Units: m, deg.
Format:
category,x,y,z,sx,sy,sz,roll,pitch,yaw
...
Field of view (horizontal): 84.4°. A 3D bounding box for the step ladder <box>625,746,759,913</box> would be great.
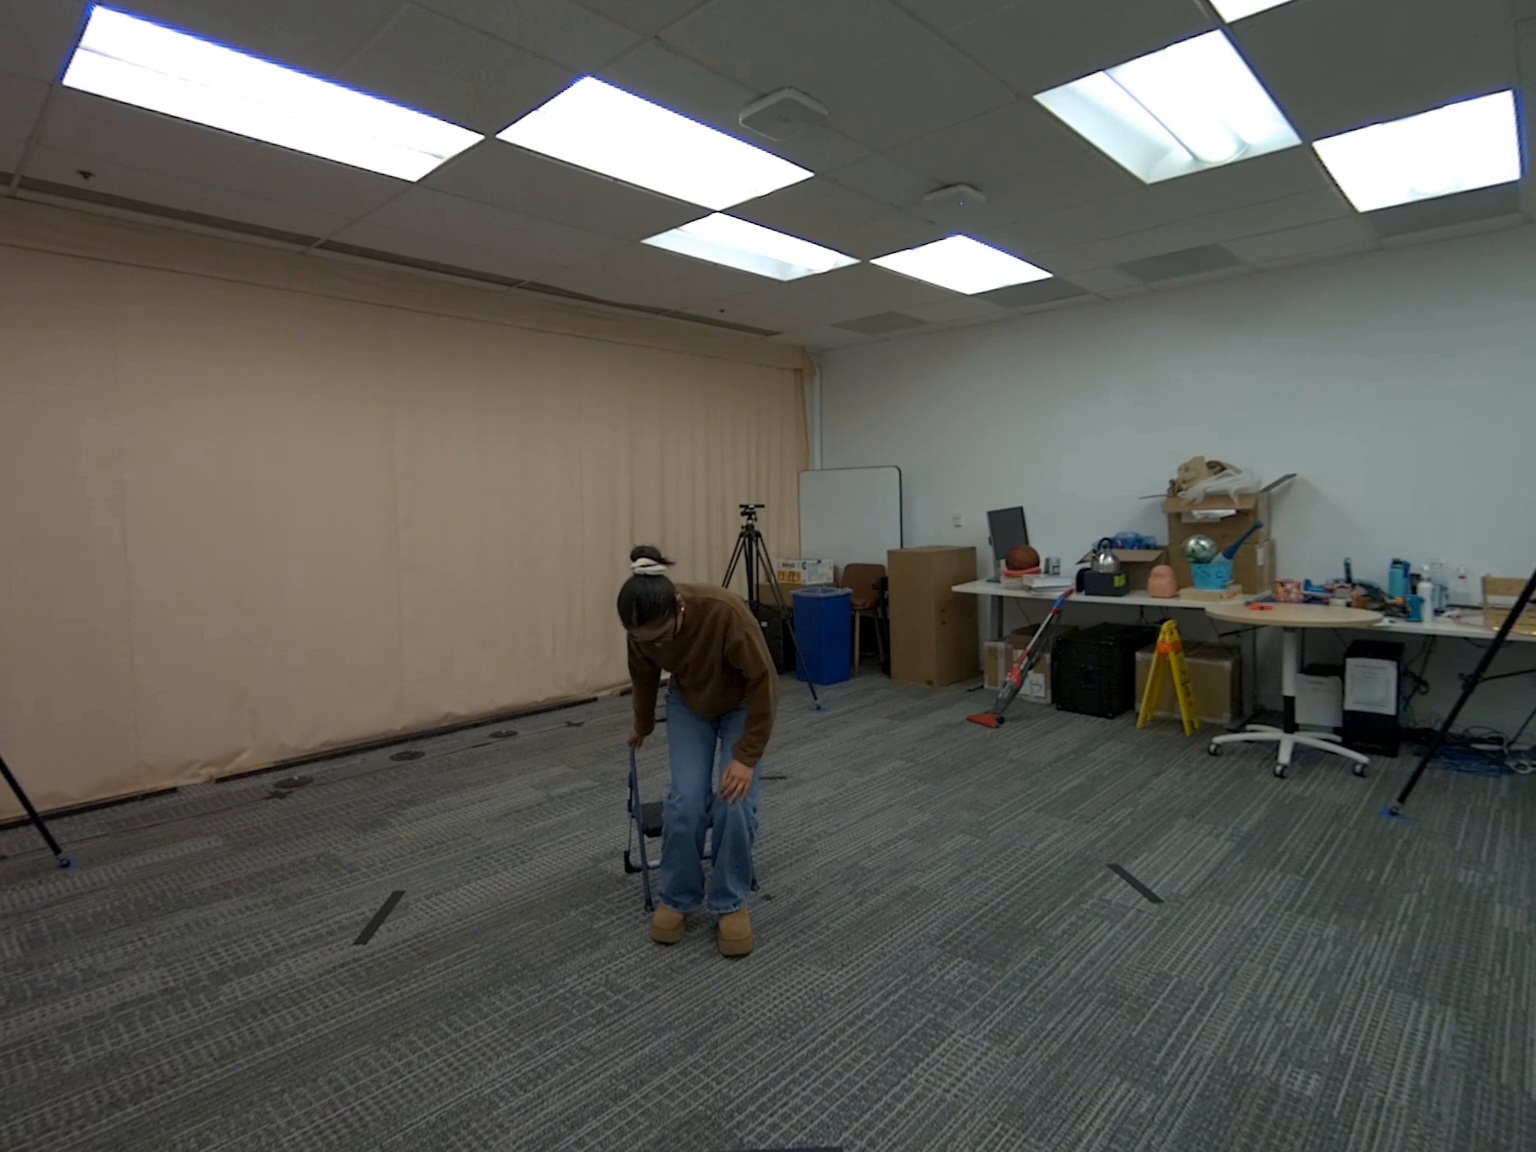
category,x,y,z,sx,sy,sz,roll,pitch,yaw
step ladder,-0.297,0.835,3.114,0.421,0.604,0.358,-2,4,-22
